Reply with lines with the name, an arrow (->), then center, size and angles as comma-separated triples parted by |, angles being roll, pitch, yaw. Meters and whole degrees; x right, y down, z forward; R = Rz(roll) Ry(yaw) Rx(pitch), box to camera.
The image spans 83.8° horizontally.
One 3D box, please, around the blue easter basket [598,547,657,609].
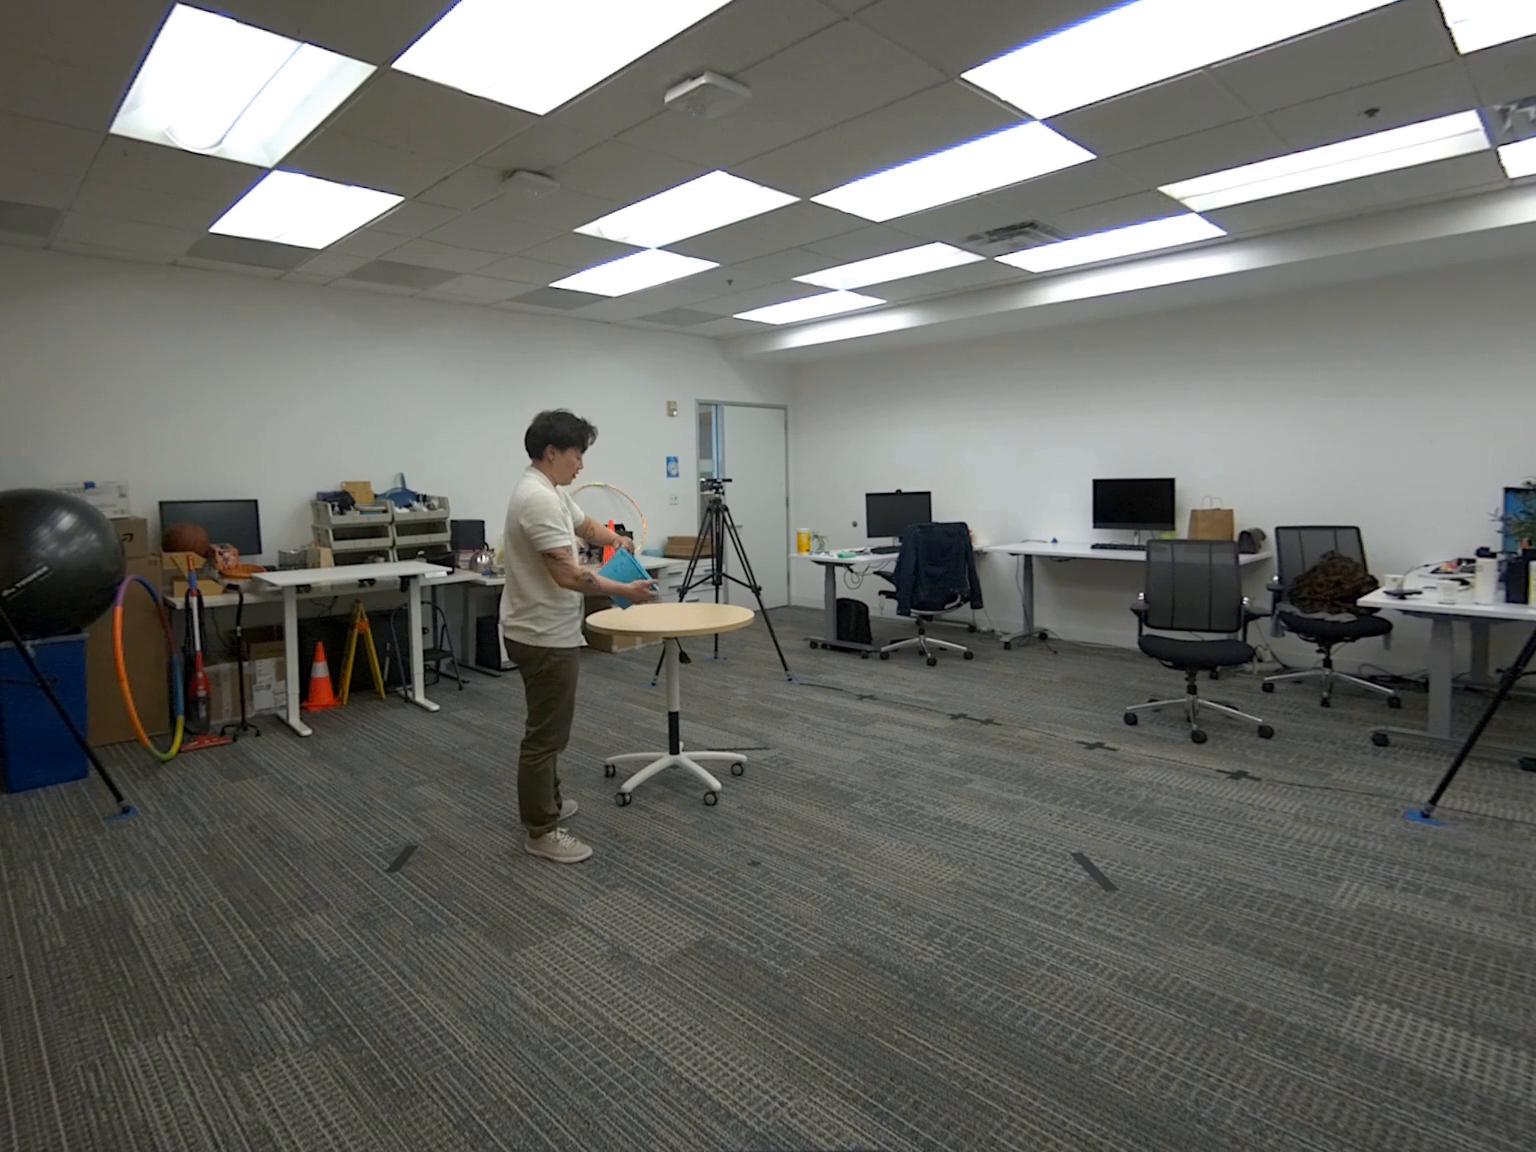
blue easter basket -> -0.547, 0.005, 3.293 | 0.156, 0.241, 0.246 | -38, 8, -3
